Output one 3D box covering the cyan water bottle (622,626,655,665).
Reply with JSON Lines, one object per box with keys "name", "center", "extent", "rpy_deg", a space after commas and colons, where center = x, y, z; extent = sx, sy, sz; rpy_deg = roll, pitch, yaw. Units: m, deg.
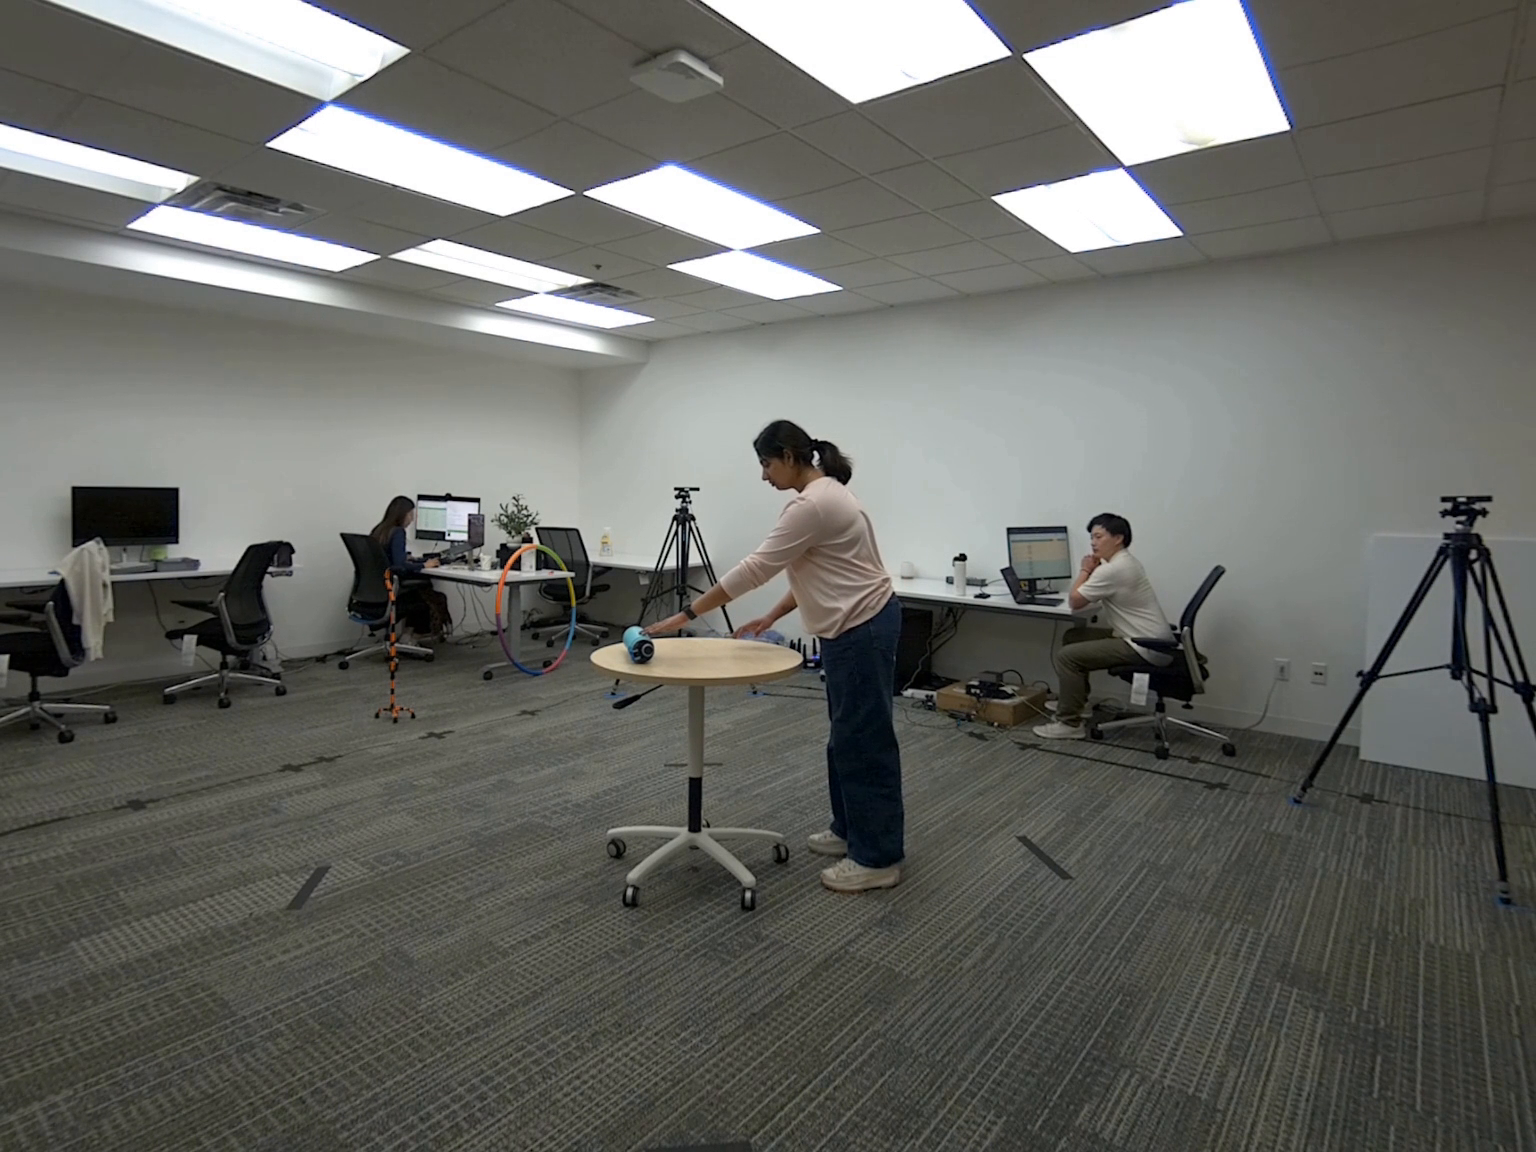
{"name": "cyan water bottle", "center": [-0.470, 0.246, 3.032], "extent": [0.091, 0.092, 0.288], "rpy_deg": [0, 6, -12]}
